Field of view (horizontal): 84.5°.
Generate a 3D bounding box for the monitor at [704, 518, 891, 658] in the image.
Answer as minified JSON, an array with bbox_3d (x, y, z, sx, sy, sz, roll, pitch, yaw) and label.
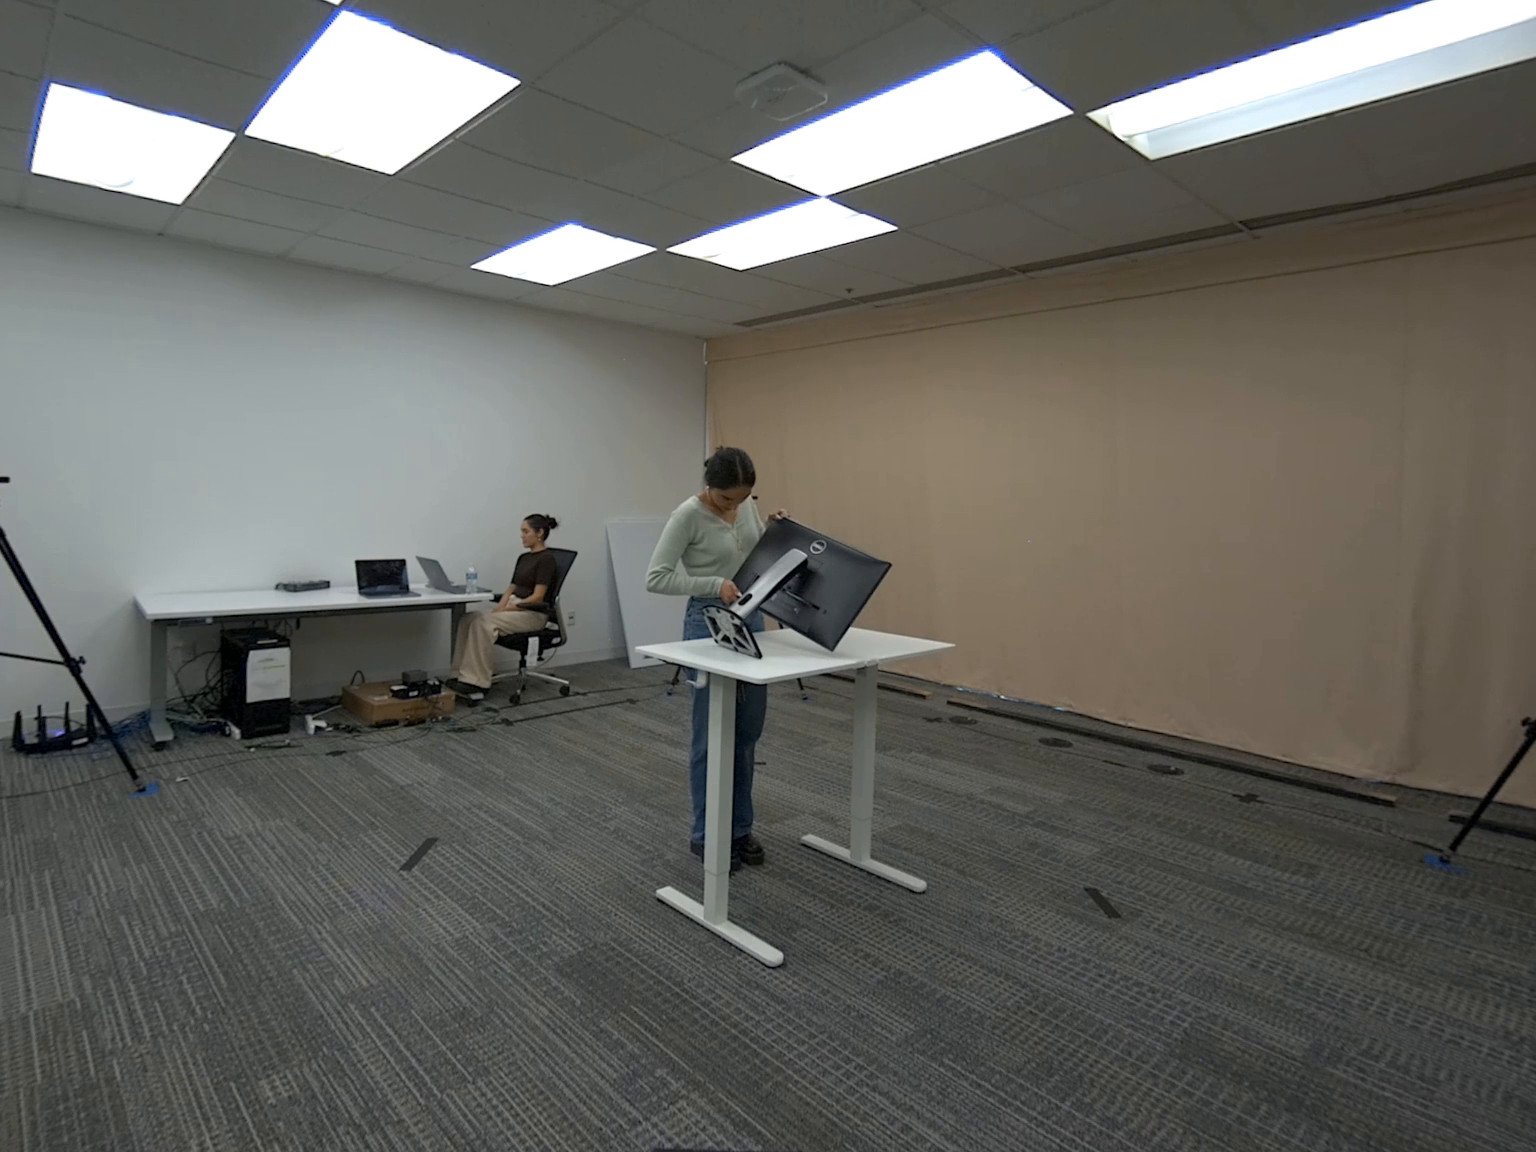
[{"bbox_3d":[0.050,0.045,2.837,0.521,0.182,0.556,-42,44,-22],"label":"monitor"}]
